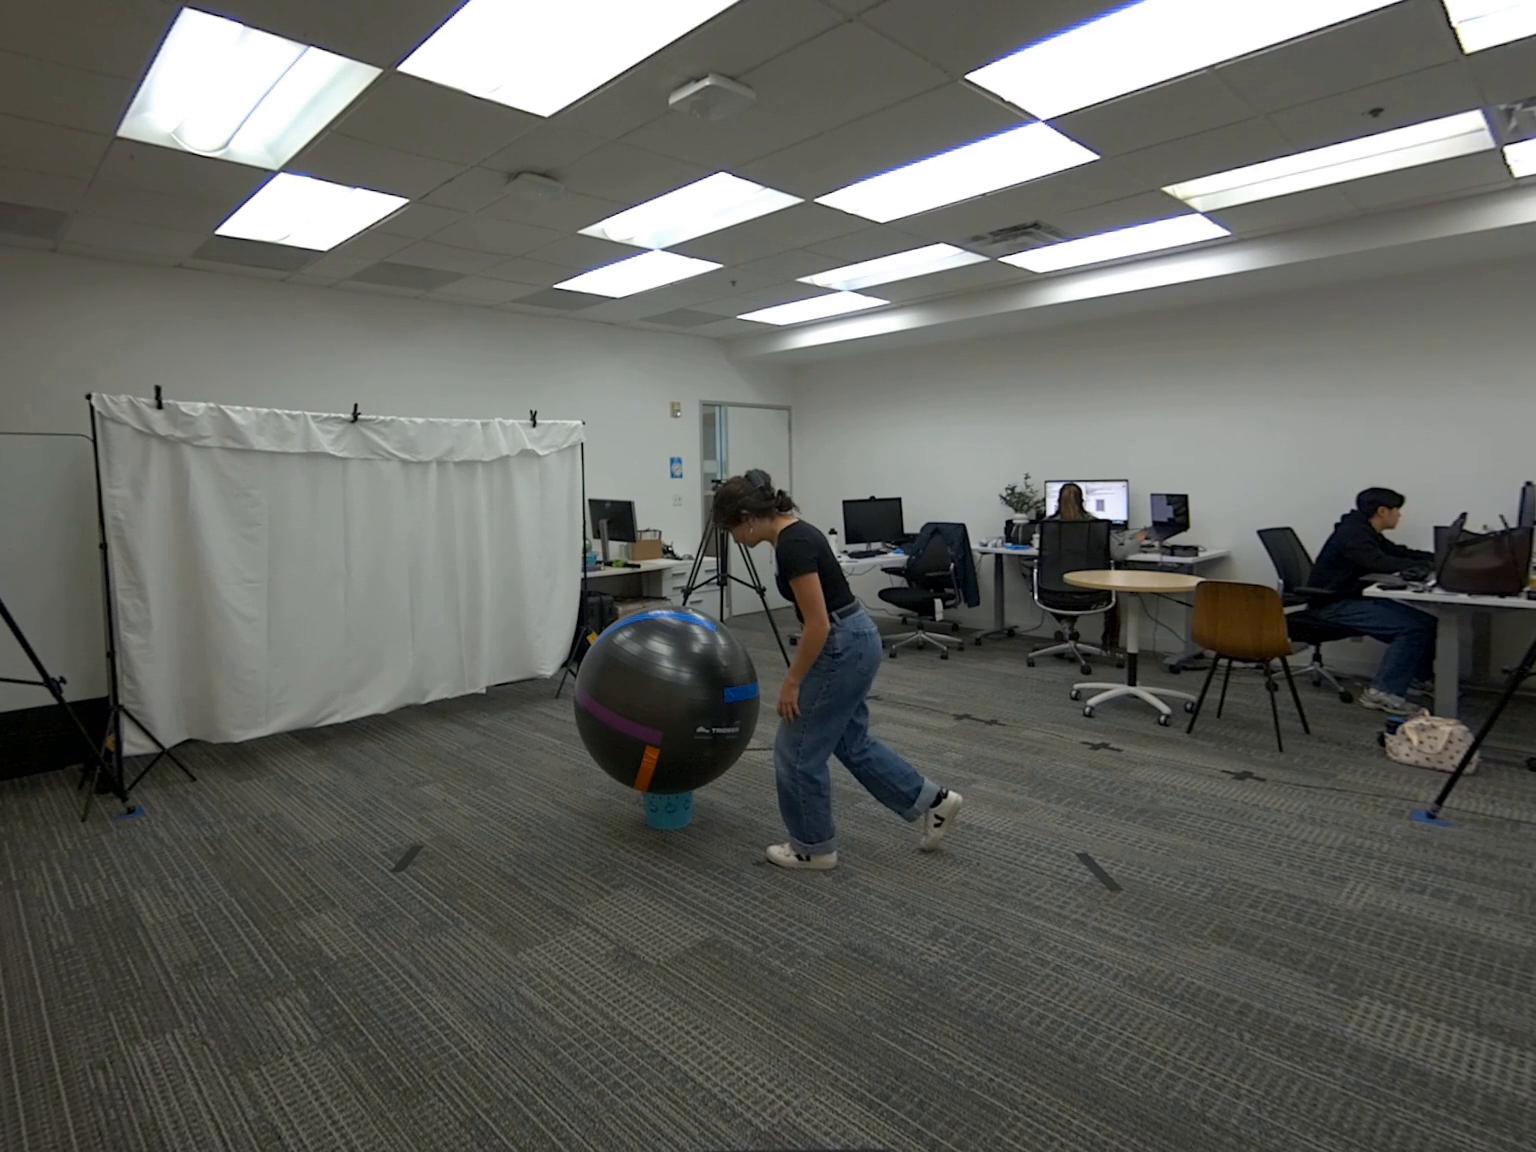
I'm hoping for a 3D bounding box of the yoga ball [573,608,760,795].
[{"bbox_3d":[-0.416,0.507,3.497,0.757,0.755,0.762,-1,5,-2],"label":"yoga ball"}]
